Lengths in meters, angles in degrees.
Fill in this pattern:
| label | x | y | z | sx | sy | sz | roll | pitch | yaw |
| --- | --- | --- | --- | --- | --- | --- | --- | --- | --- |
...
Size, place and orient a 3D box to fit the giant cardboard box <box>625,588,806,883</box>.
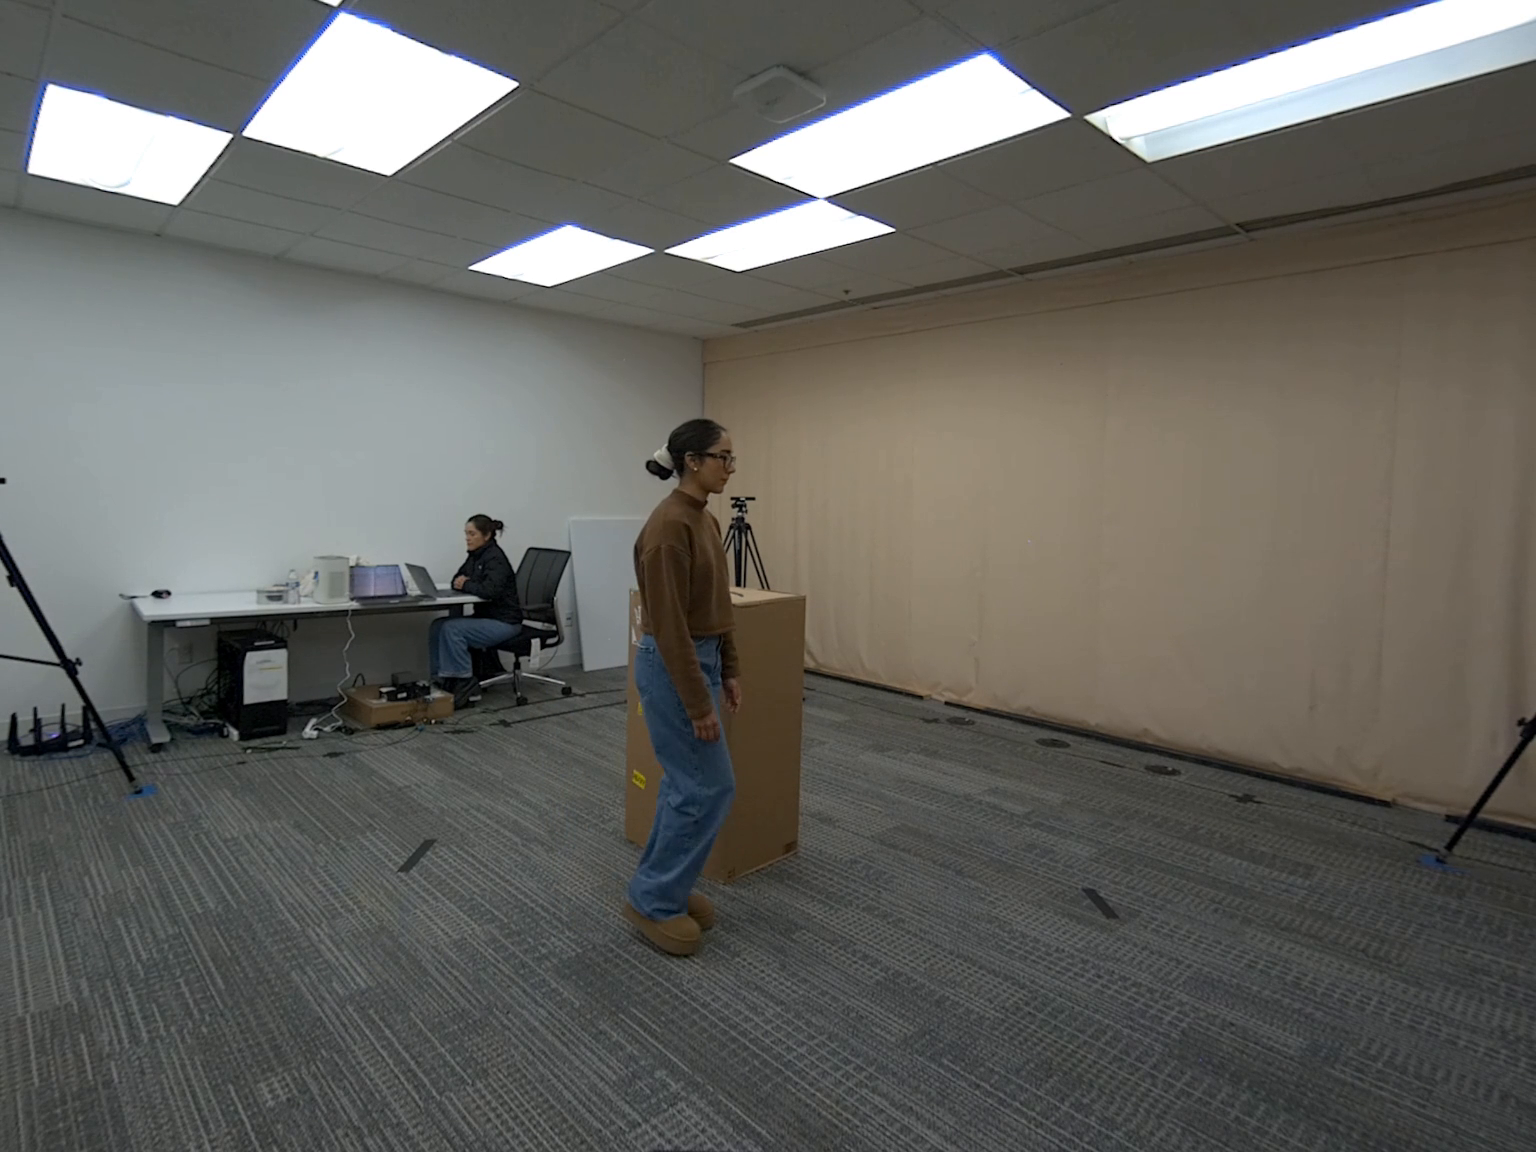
| label | x | y | z | sx | sy | sz | roll | pitch | yaw |
| --- | --- | --- | --- | --- | --- | --- | --- | --- | --- |
| giant cardboard box | -0.224 | 0.575 | 3.343 | 0.592 | 1.023 | 0.416 | 4 | 4 | 43 |
